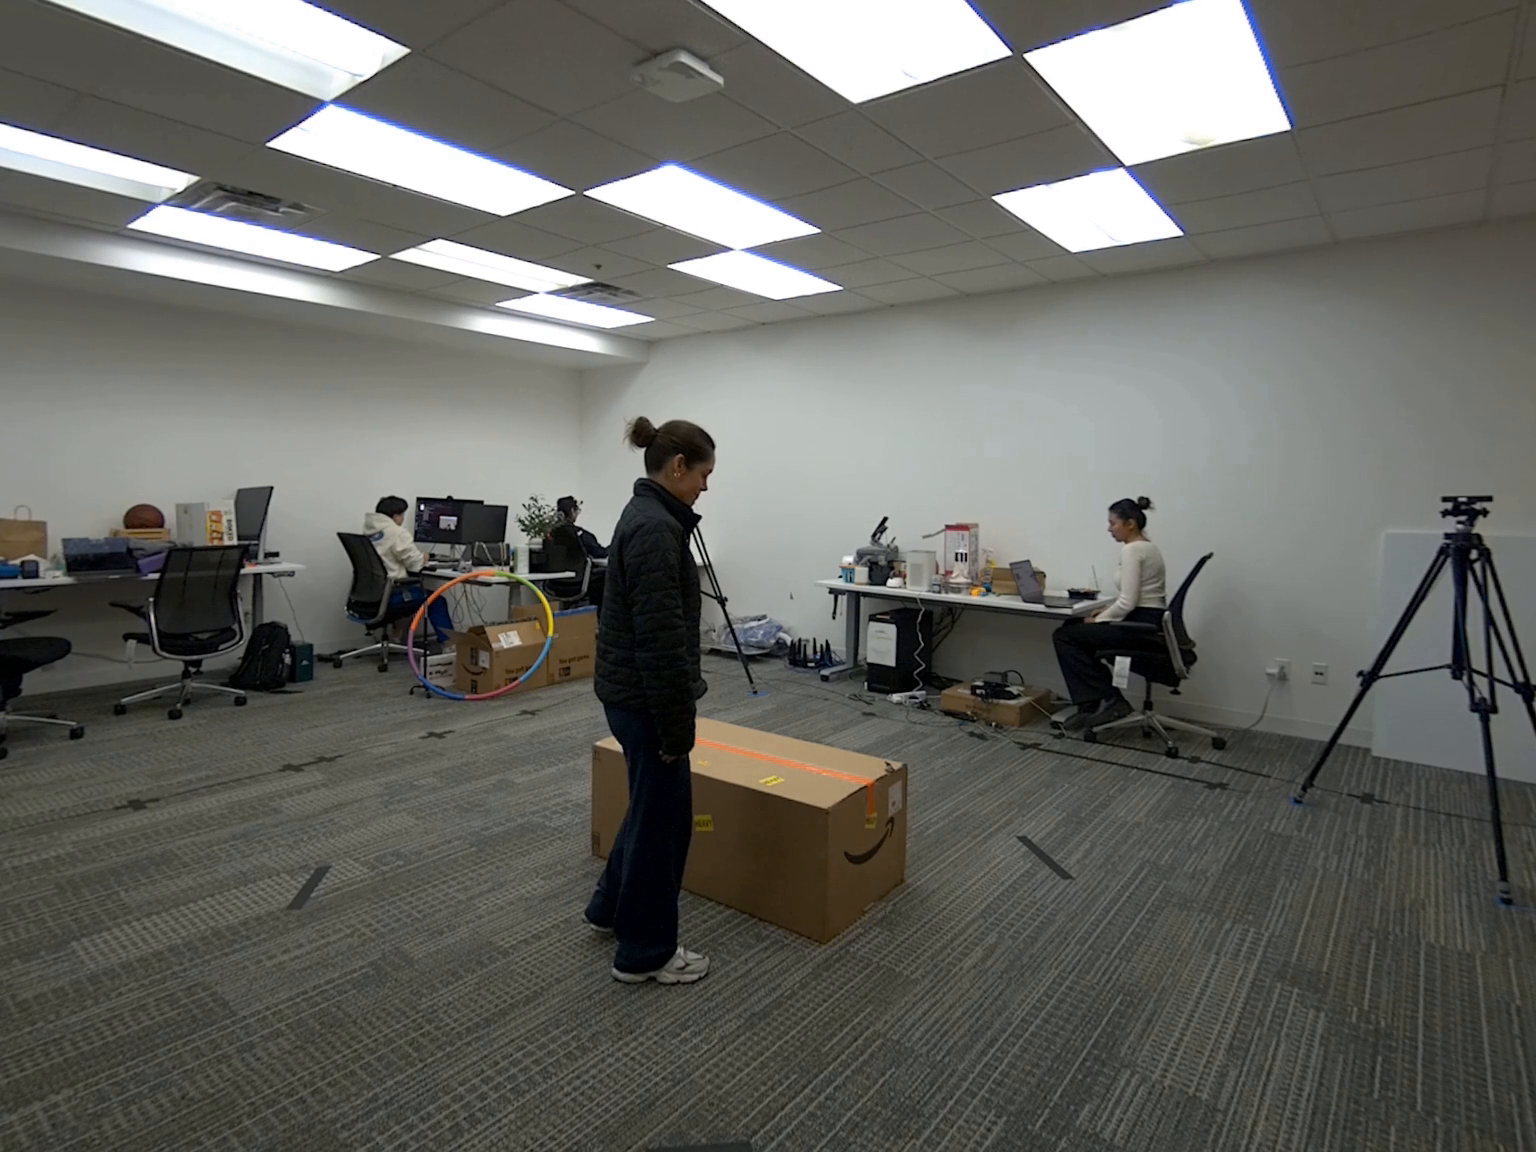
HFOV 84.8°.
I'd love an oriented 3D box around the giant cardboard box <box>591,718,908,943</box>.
[{"bbox_3d":[-0.069,0.852,3.133,1.059,0.424,0.561,5,7,36],"label":"giant cardboard box"}]
